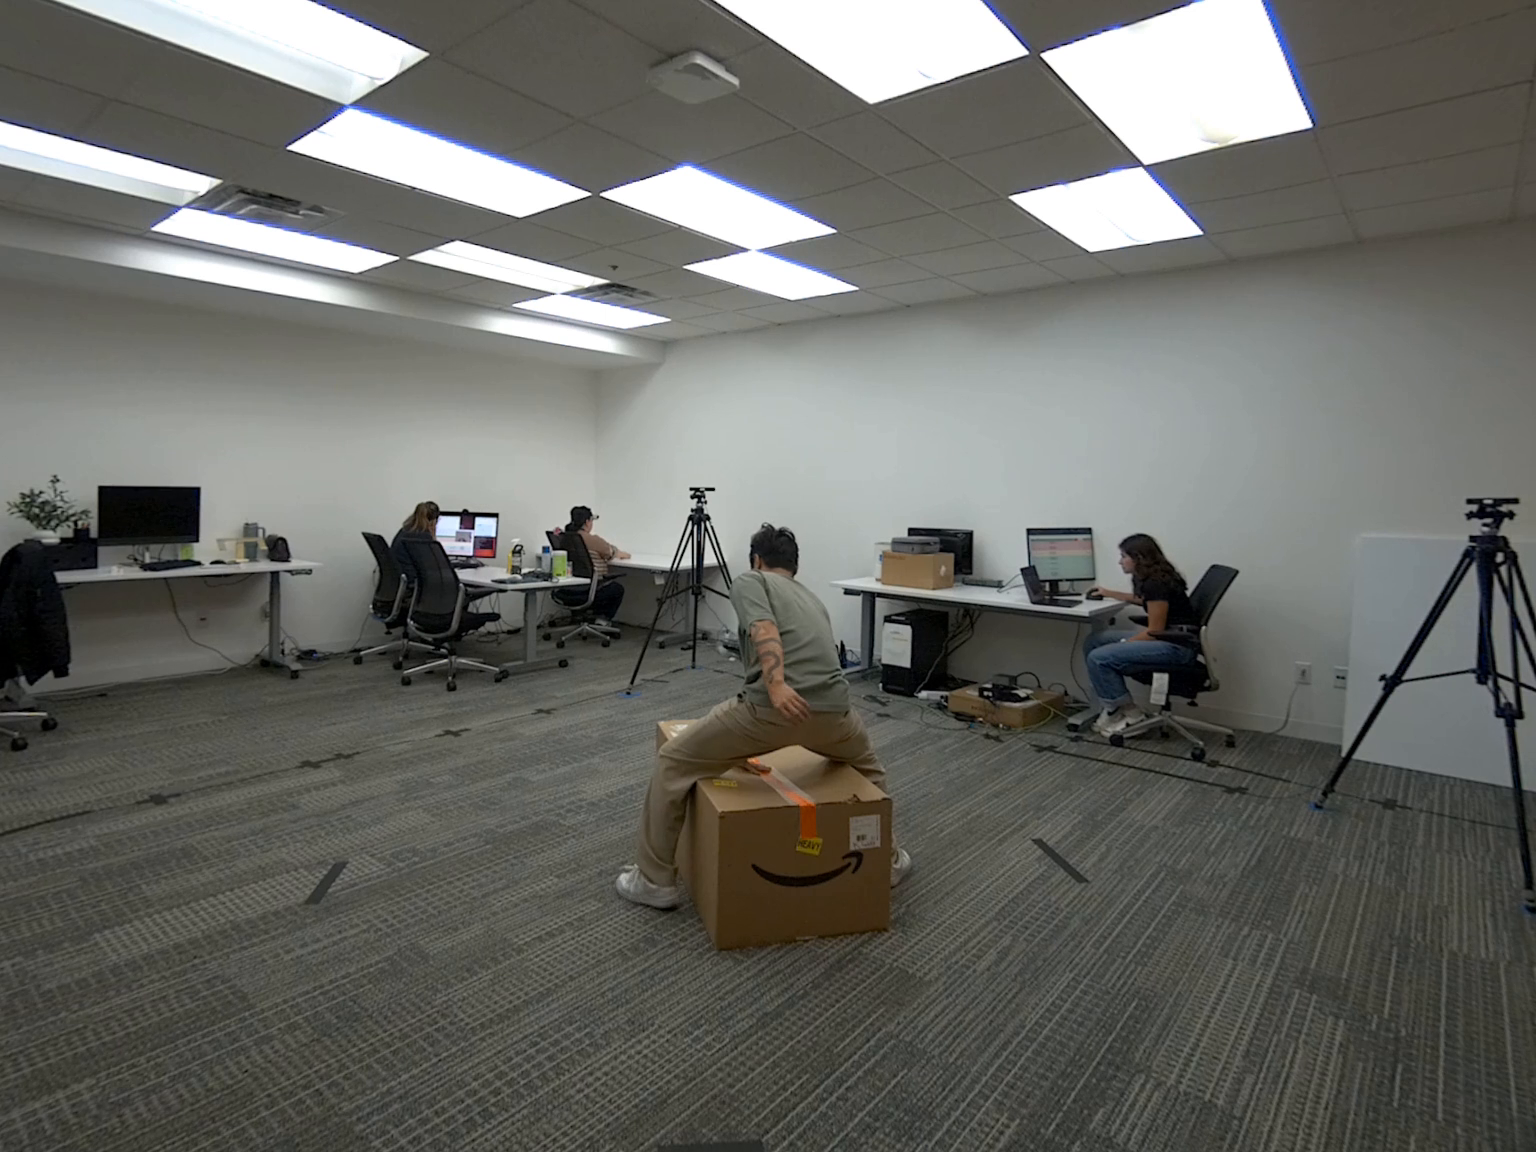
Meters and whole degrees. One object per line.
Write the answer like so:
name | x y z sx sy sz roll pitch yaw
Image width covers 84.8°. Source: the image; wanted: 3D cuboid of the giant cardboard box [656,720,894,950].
giant cardboard box | -0.047 0.861 3.103 0.568 0.424 1.047 -1 6 -17
